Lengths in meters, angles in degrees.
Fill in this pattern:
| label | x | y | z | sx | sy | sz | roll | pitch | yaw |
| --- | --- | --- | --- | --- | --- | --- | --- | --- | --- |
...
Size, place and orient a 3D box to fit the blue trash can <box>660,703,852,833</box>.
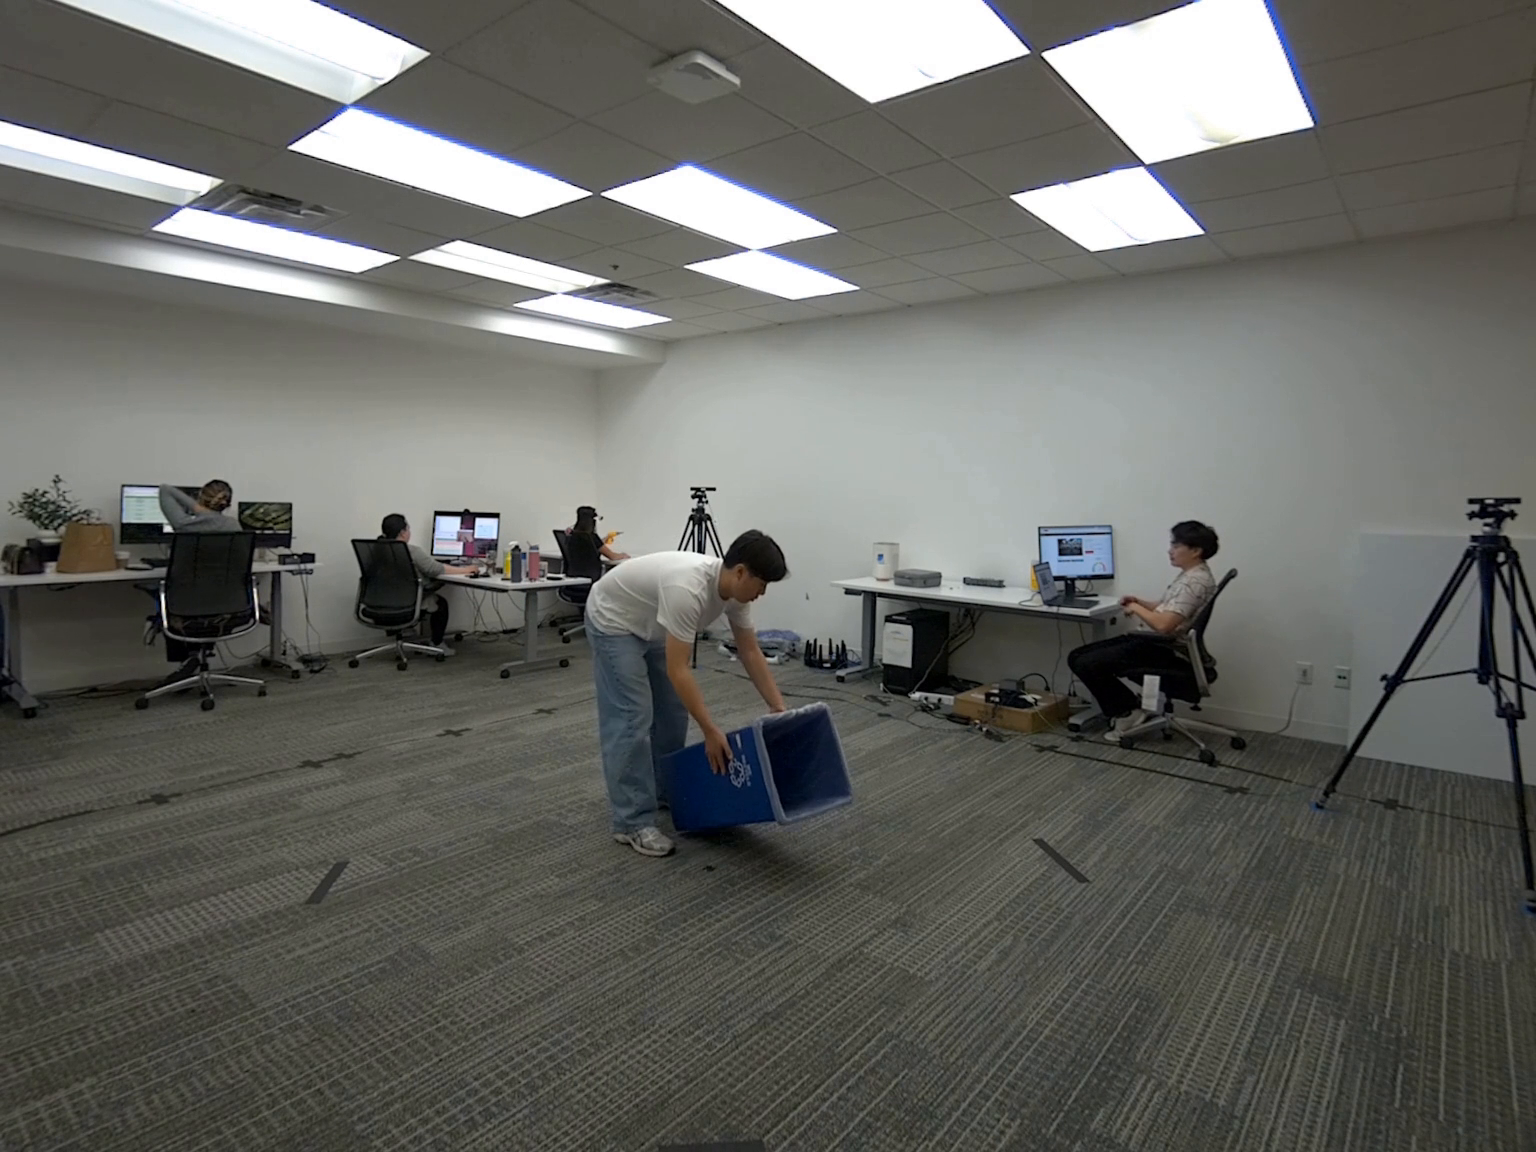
| label | x | y | z | sx | sy | sz | roll | pitch | yaw |
| --- | --- | --- | --- | --- | --- | --- | --- | --- | --- |
| blue trash can | -0.086 | 0.762 | 3.270 | 0.367 | 0.380 | 0.723 | -4 | -16 | -40 |
